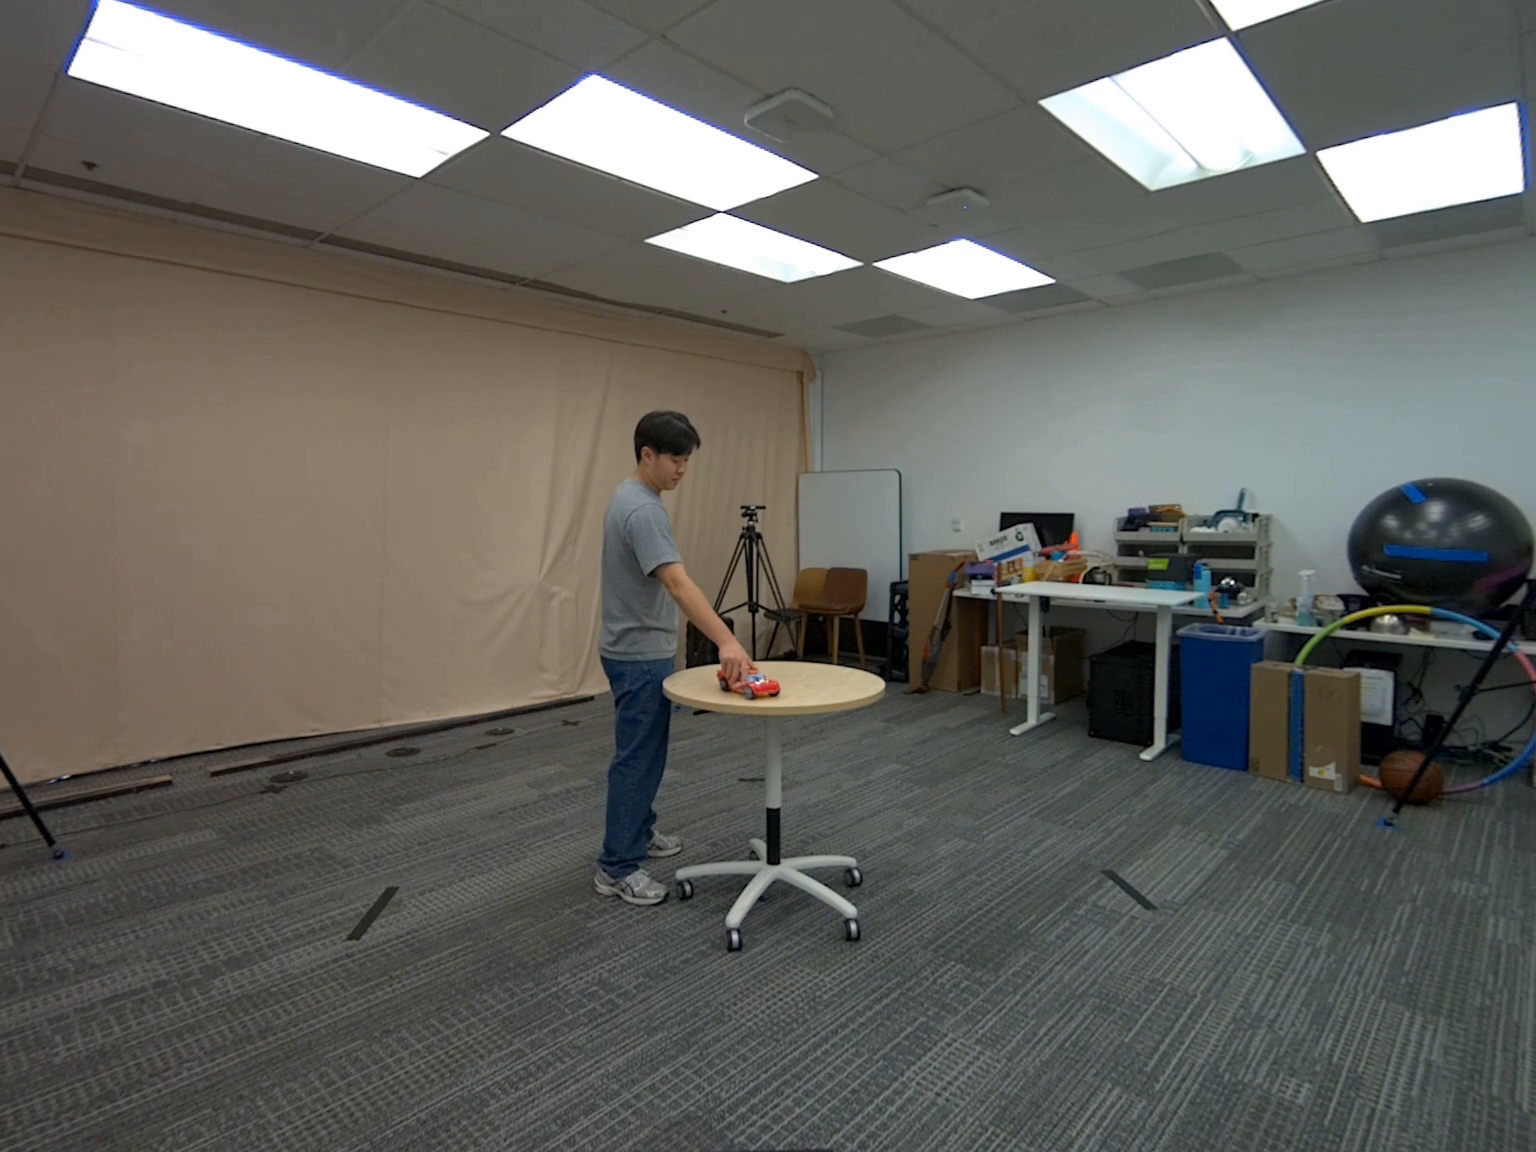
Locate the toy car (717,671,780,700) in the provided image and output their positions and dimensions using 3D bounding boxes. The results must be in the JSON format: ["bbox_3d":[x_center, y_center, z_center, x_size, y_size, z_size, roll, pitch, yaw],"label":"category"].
[{"bbox_3d":[-0.067,0.349,2.745,0.127,0.082,0.263,-4,16,-33],"label":"toy car"}]
